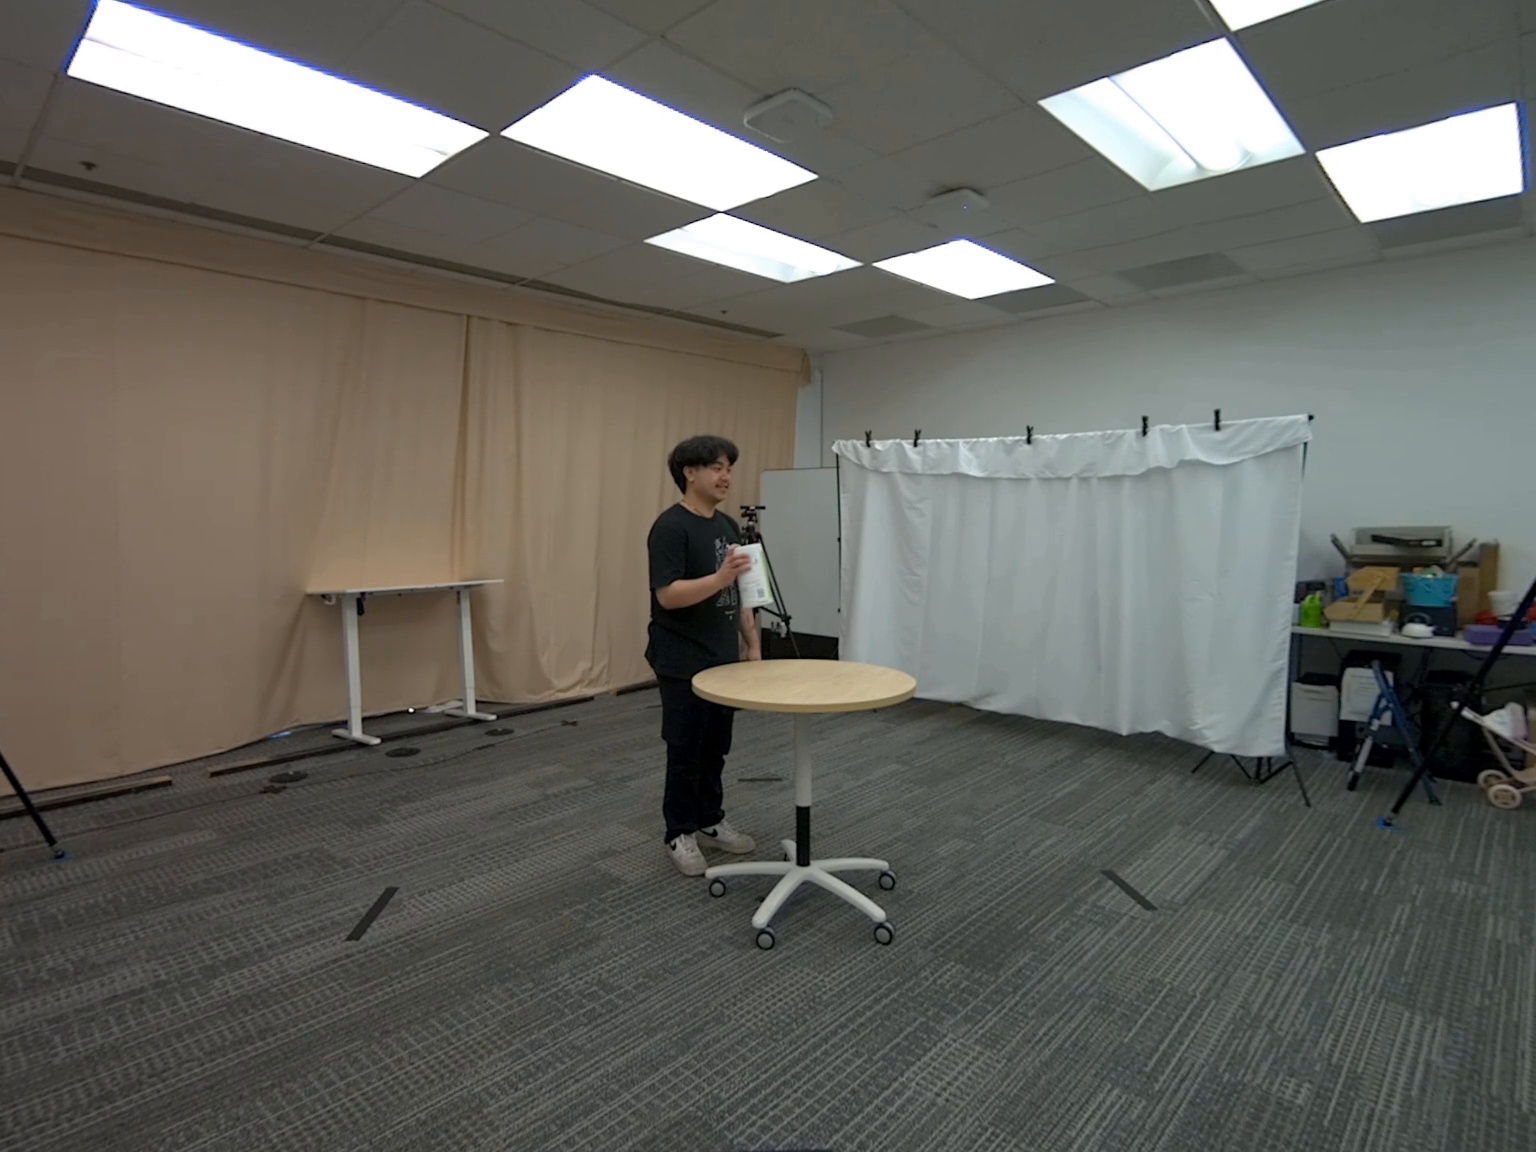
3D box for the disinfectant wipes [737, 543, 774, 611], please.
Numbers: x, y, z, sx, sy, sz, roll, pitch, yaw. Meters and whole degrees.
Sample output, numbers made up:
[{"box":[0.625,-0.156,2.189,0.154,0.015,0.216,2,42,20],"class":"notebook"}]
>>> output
[{"box":[-0.052,0.012,2.962,0.117,0.218,0.118,-9,-2,-2],"class":"disinfectant wipes"}]
